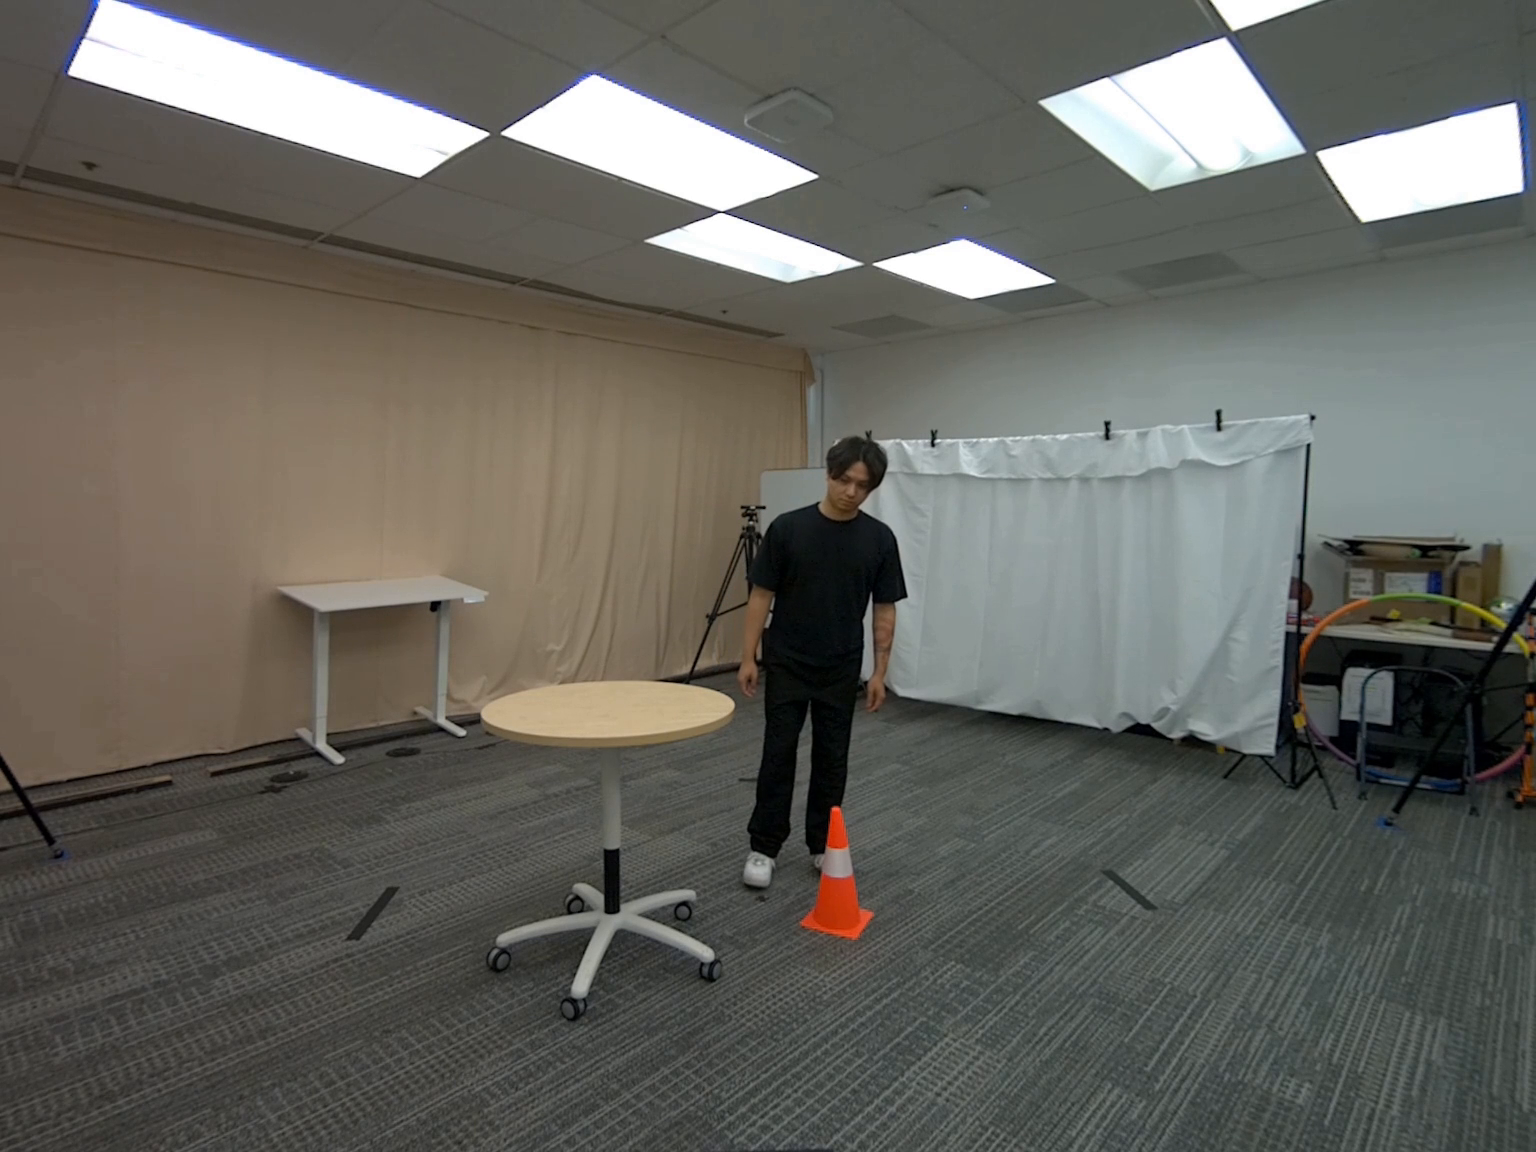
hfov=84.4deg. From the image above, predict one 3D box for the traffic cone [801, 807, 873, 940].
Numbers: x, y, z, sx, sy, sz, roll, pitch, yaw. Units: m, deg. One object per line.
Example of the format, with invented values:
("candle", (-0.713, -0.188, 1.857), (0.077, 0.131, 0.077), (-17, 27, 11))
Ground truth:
("traffic cone", (0.231, 0.971, 2.825), (0.209, 0.383, 0.200), (1, 3, 28))
